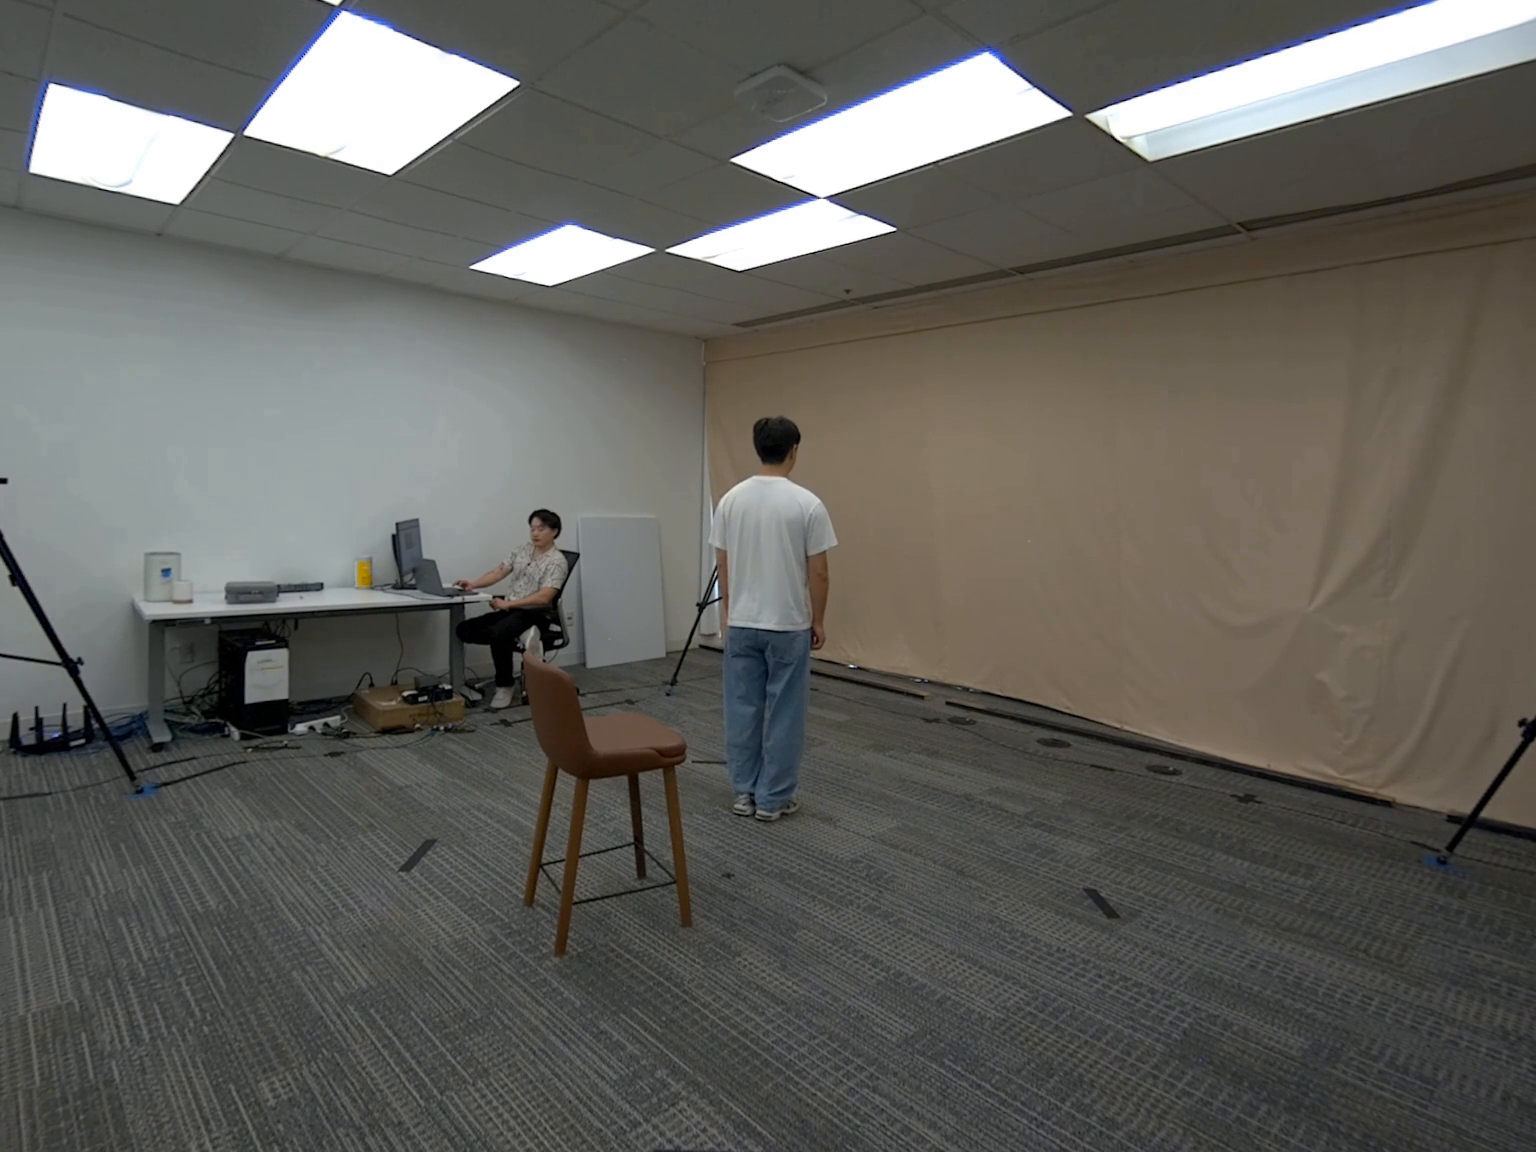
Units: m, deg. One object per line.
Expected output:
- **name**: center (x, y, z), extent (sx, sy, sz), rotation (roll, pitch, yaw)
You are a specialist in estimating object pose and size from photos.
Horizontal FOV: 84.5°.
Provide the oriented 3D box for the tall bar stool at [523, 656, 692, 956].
- **tall bar stool**: center (-0.541, 0.692, 2.772), extent (0.458, 0.887, 0.467), rotation (-2, 5, -30)
